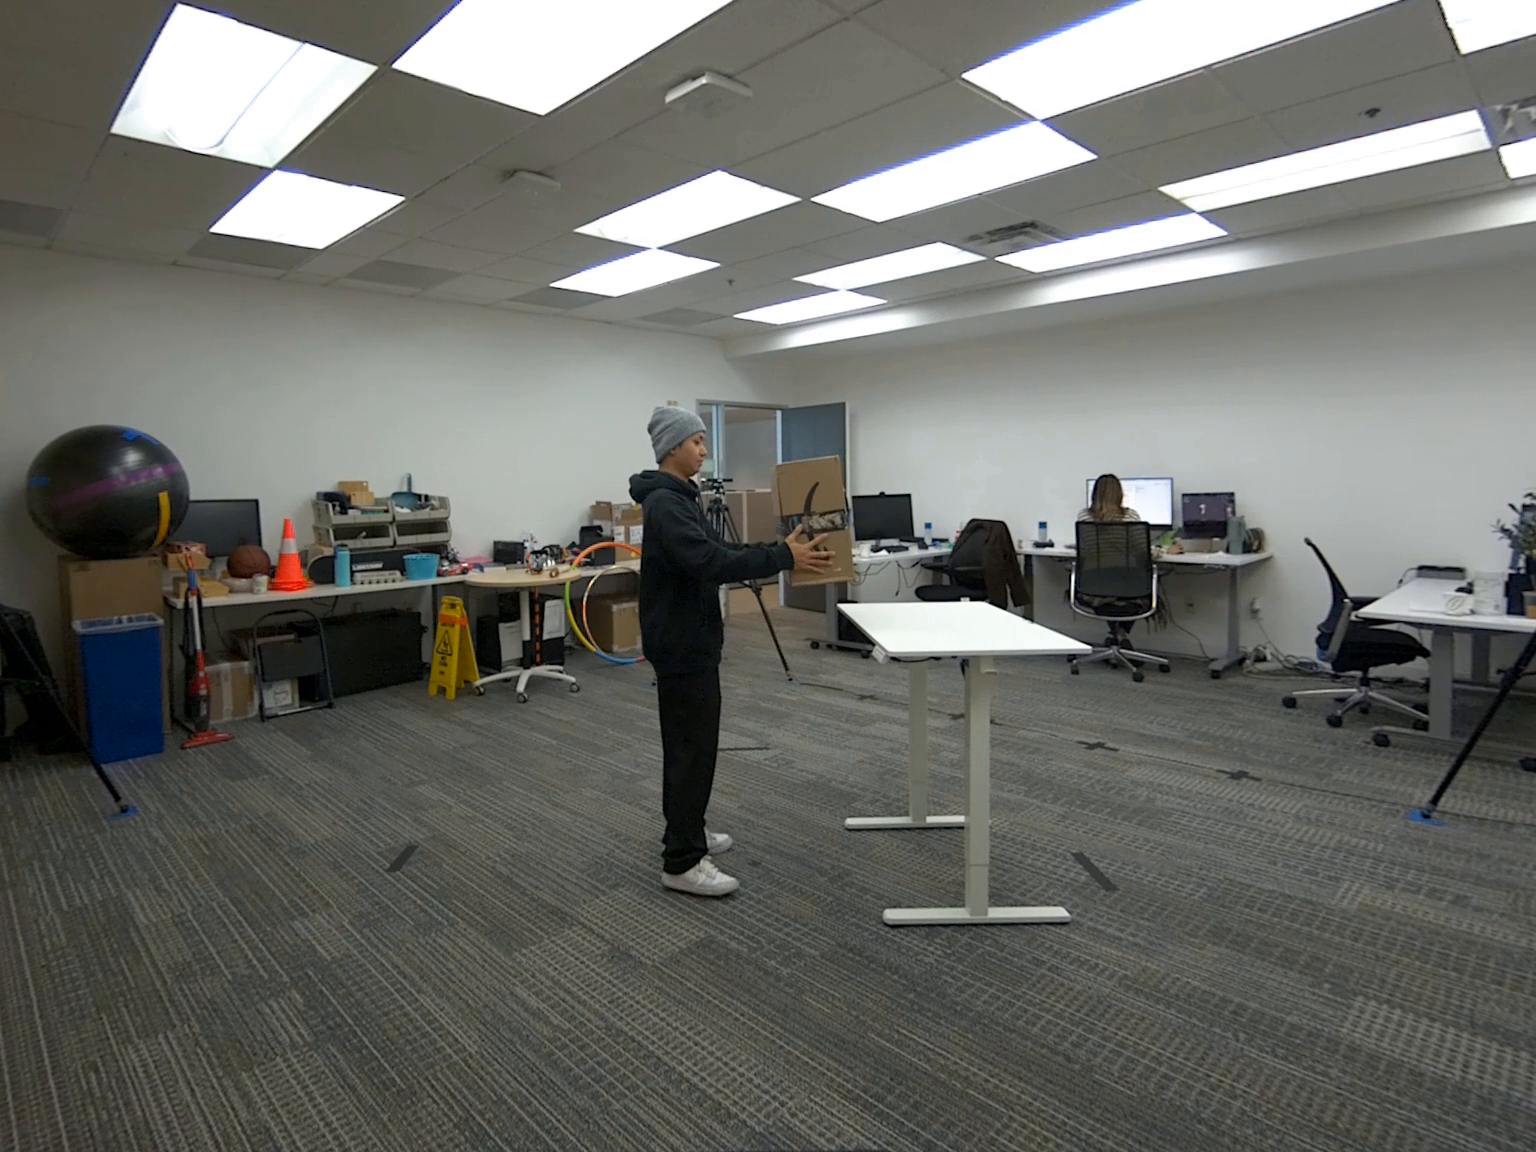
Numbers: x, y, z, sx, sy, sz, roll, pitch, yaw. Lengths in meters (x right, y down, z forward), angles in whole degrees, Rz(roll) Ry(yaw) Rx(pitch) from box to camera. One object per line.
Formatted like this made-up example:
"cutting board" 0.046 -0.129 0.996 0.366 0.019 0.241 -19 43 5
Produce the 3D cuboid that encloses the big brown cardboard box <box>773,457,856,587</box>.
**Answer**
"big brown cardboard box" 0.152 -0.195 3.085 0.233 0.417 0.590 -6 3 -2
